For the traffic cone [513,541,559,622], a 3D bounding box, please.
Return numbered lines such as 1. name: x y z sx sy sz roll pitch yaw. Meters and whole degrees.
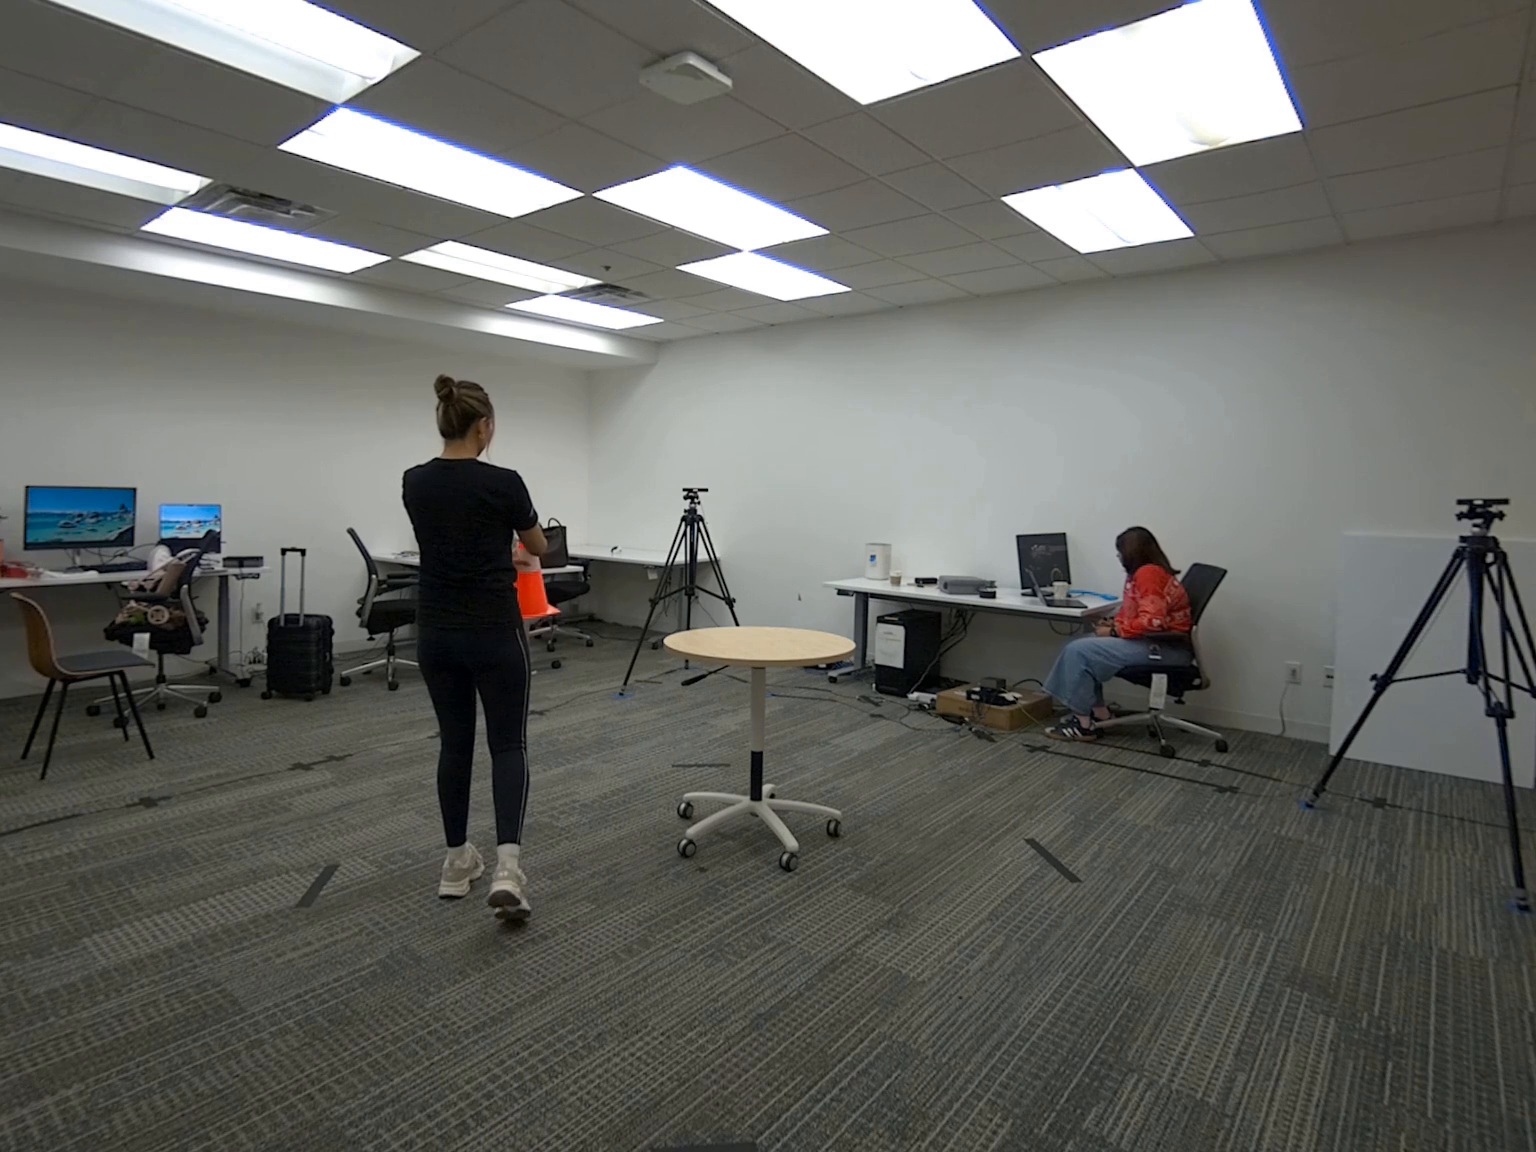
1. traffic cone: -0.968 -0.045 3.352 0.210 0.379 0.200 9 14 37
